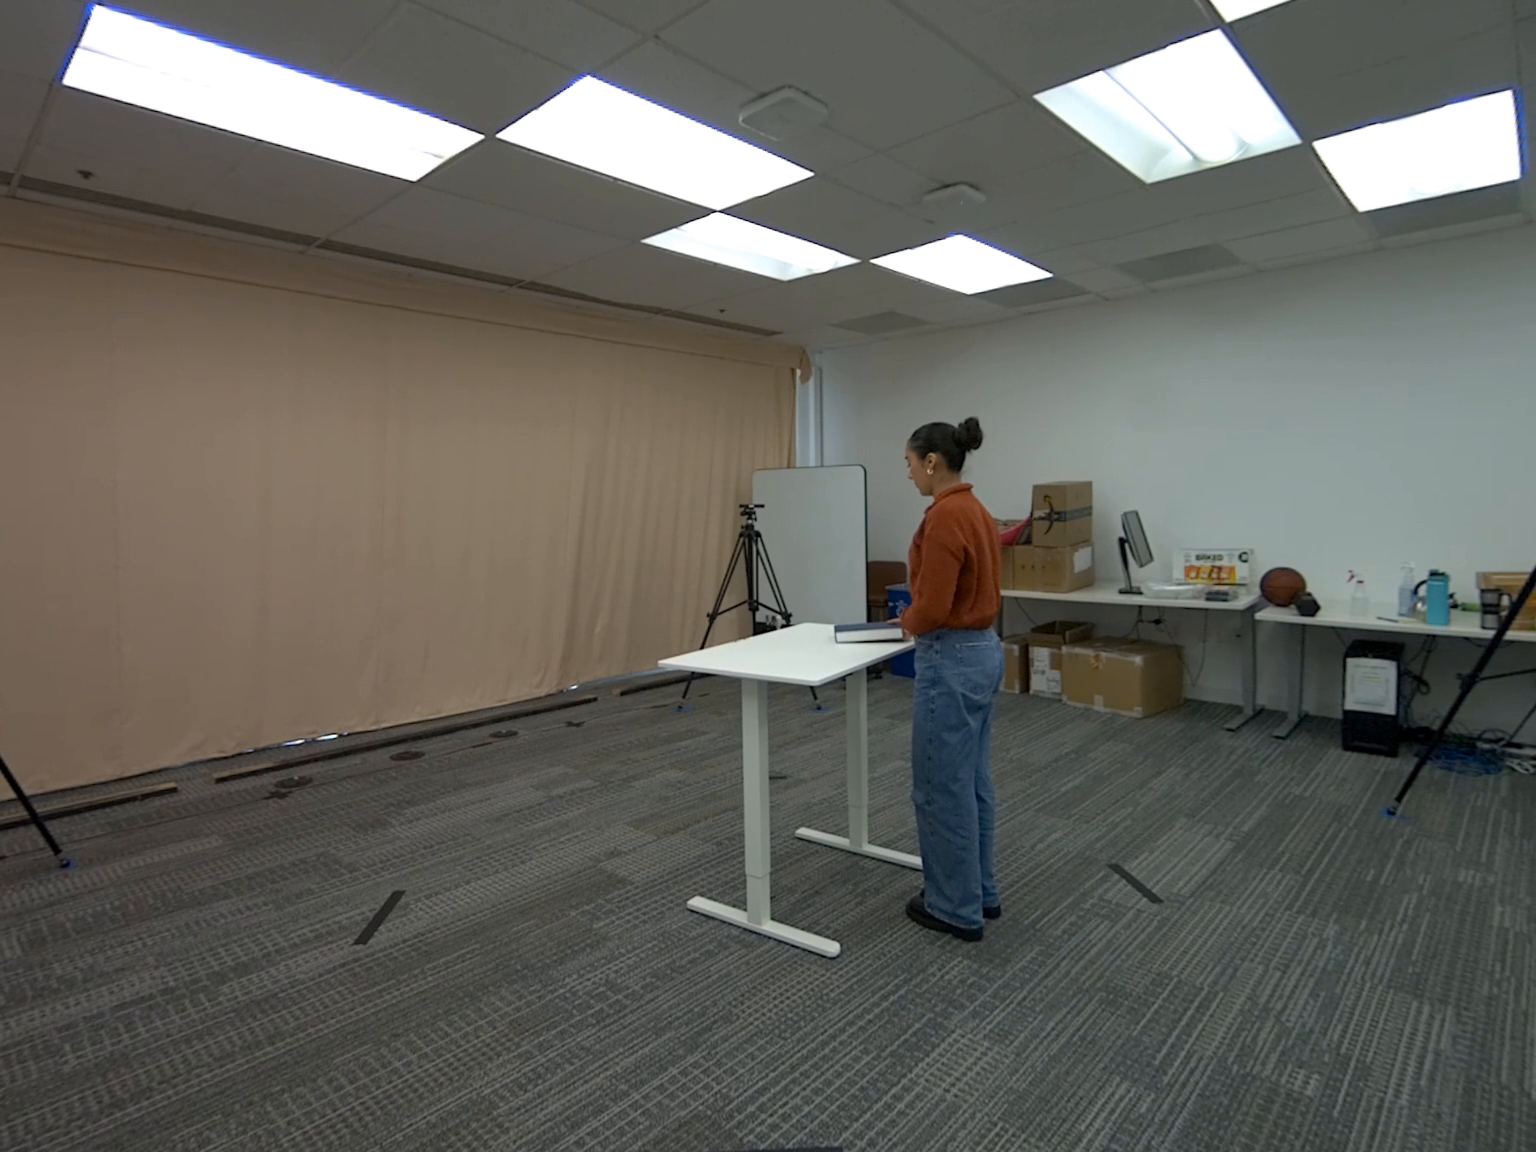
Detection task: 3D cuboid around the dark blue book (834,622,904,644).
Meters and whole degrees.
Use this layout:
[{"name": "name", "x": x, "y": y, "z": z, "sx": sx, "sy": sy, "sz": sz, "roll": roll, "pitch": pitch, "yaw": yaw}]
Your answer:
[{"name": "dark blue book", "x": 0.373, "y": 0.206, "z": 3.135, "sx": 0.247, "sy": 0.045, "sz": 0.163, "roll": -5, "pitch": 4, "yaw": 6}]
